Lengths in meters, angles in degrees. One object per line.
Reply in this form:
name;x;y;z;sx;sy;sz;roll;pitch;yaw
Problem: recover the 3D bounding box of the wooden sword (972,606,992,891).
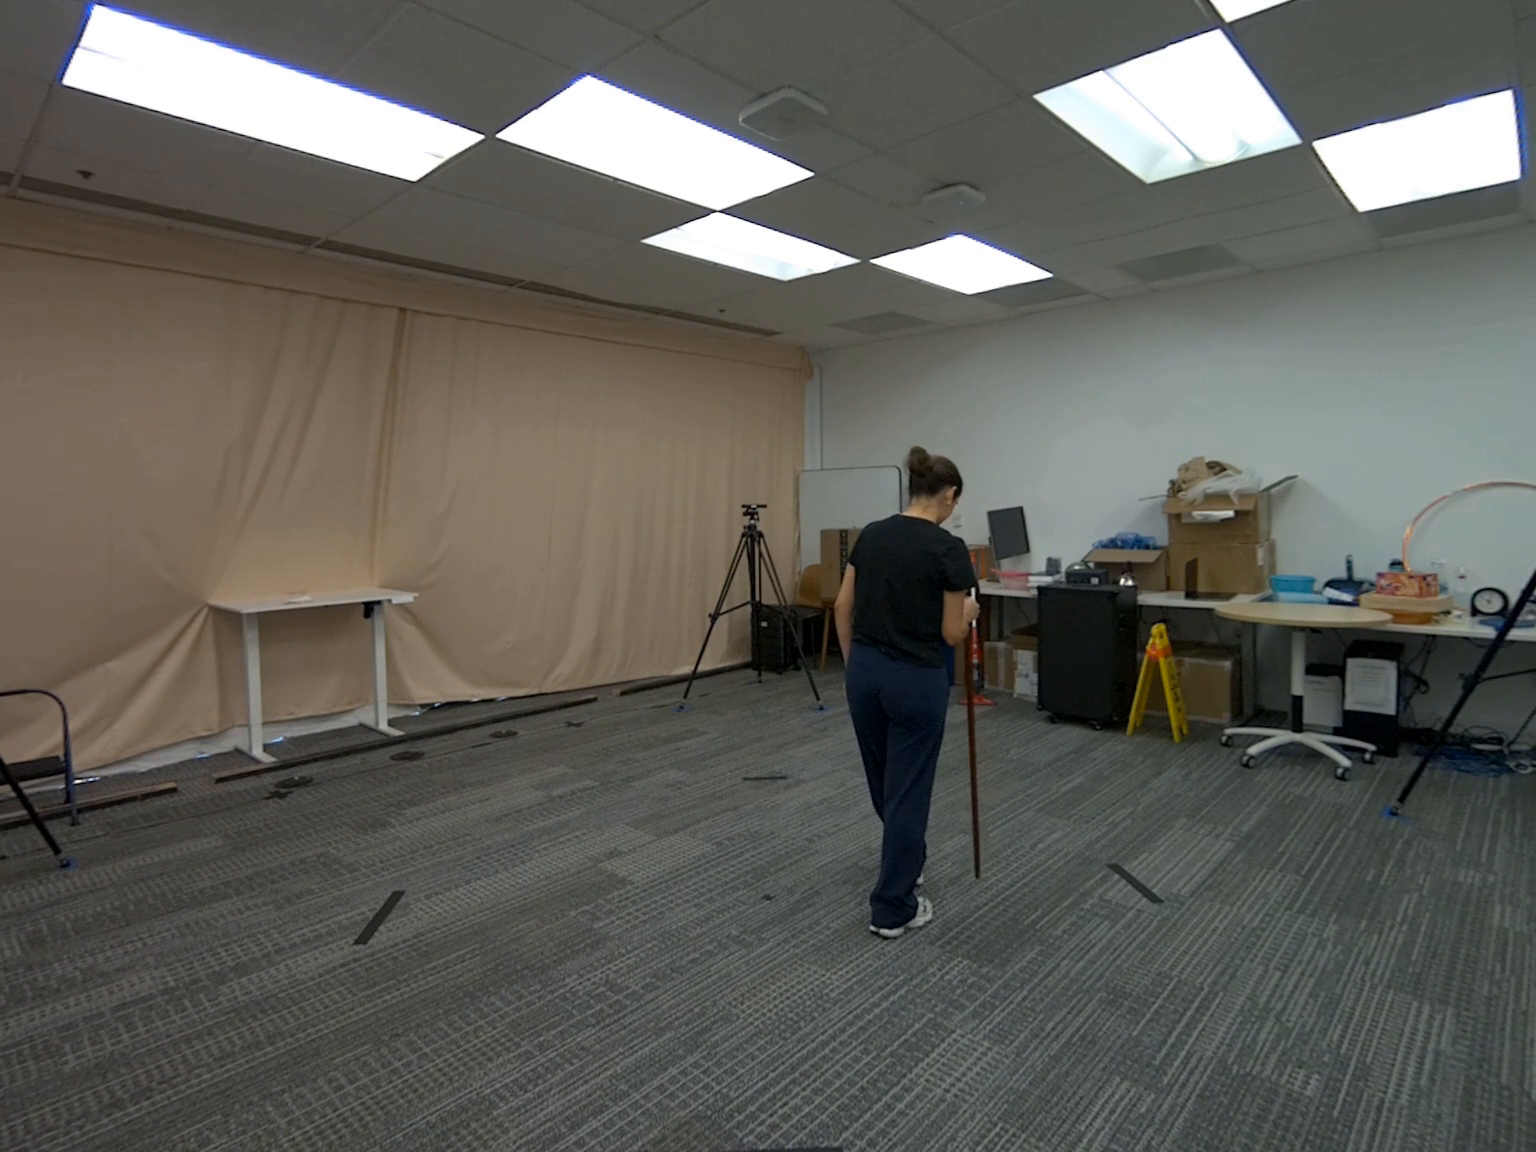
wooden sword;0.753;0.613;2.988;0.052;1.020;0.024;1;7;16
